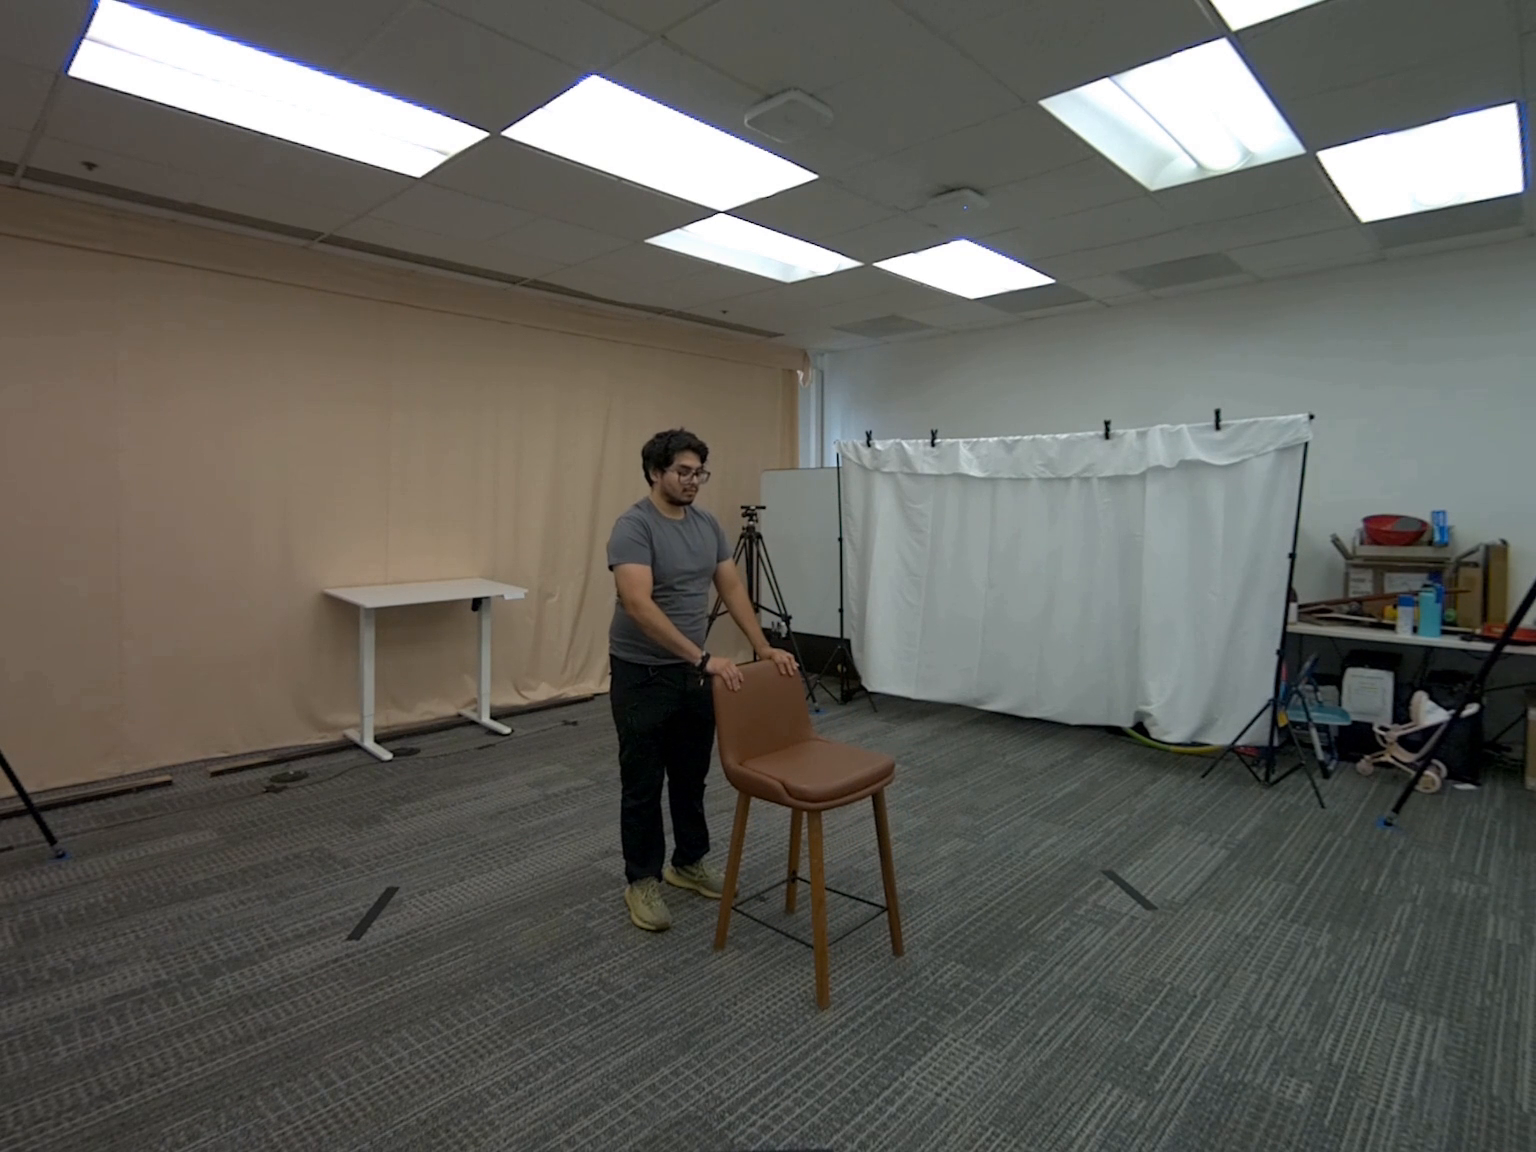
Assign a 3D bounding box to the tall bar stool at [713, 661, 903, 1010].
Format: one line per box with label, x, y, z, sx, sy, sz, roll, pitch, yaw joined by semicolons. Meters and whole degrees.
tall bar stool;0.115;0.738;2.609;0.483;0.889;0.442;0;3;44
